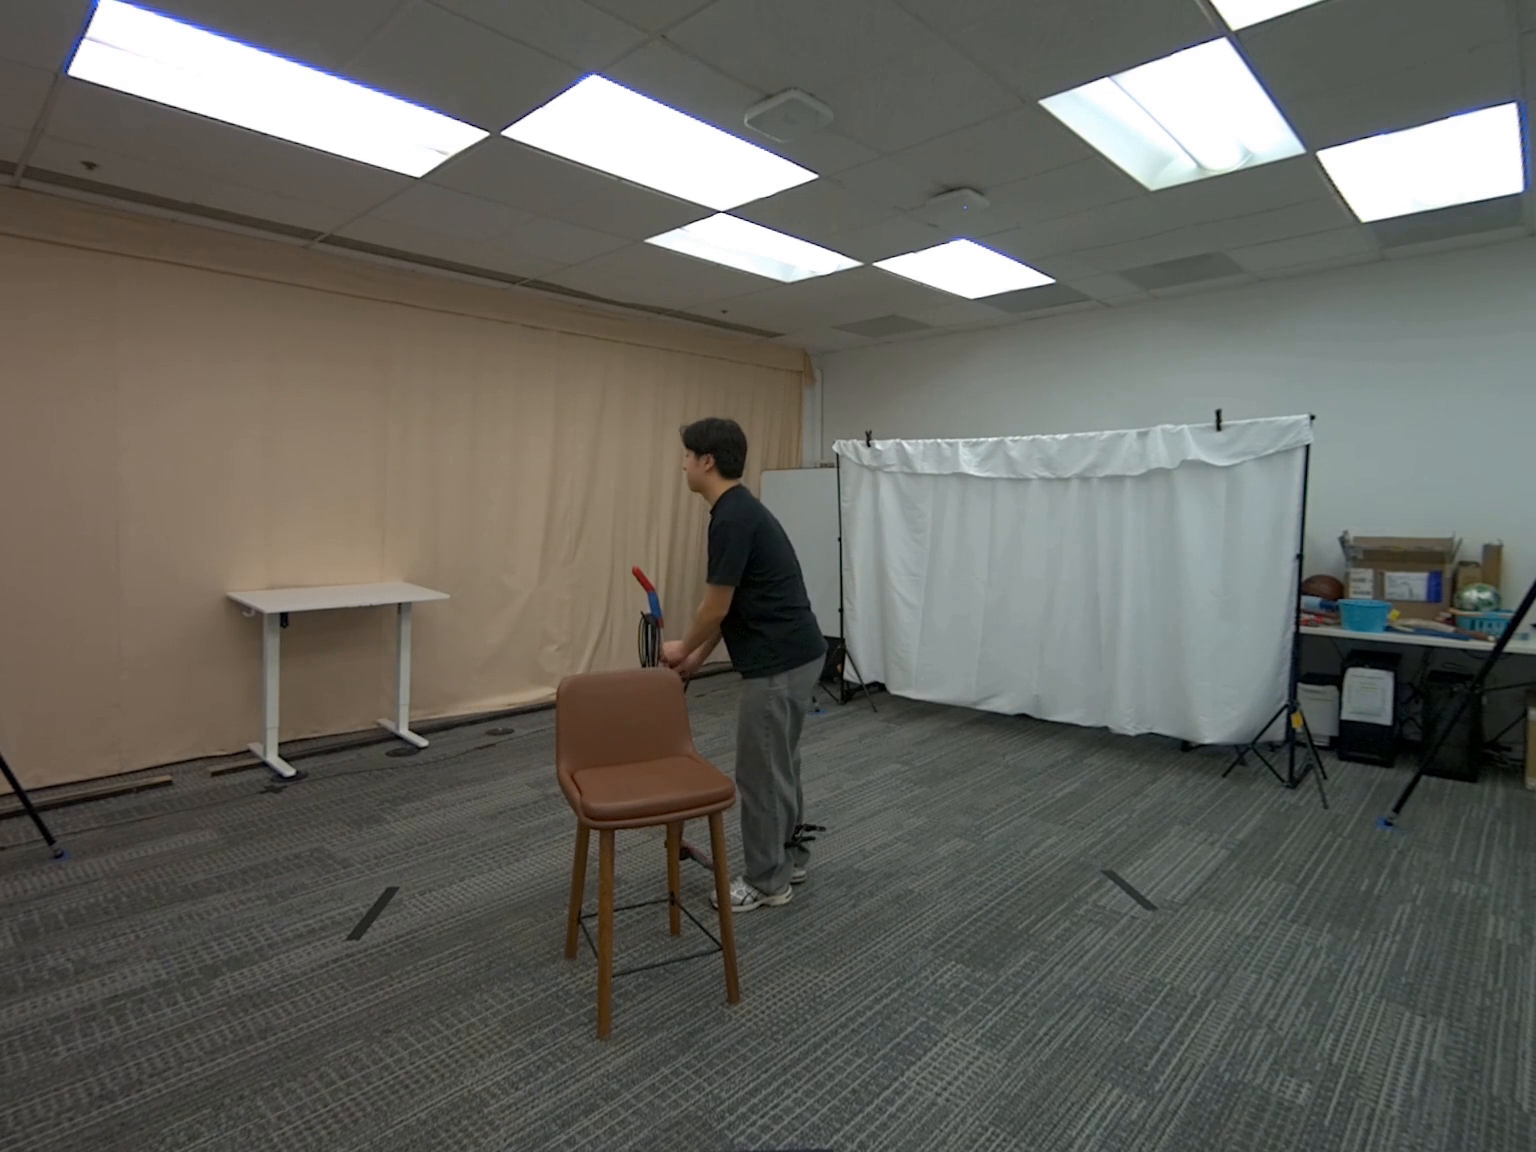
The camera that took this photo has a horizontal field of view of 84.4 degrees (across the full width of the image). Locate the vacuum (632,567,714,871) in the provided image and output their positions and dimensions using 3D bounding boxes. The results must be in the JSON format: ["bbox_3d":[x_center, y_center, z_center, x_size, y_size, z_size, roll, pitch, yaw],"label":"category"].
[{"bbox_3d":[-0.386,0.496,3.029,0.140,1.047,0.260,-13,3,-38],"label":"vacuum"}]
